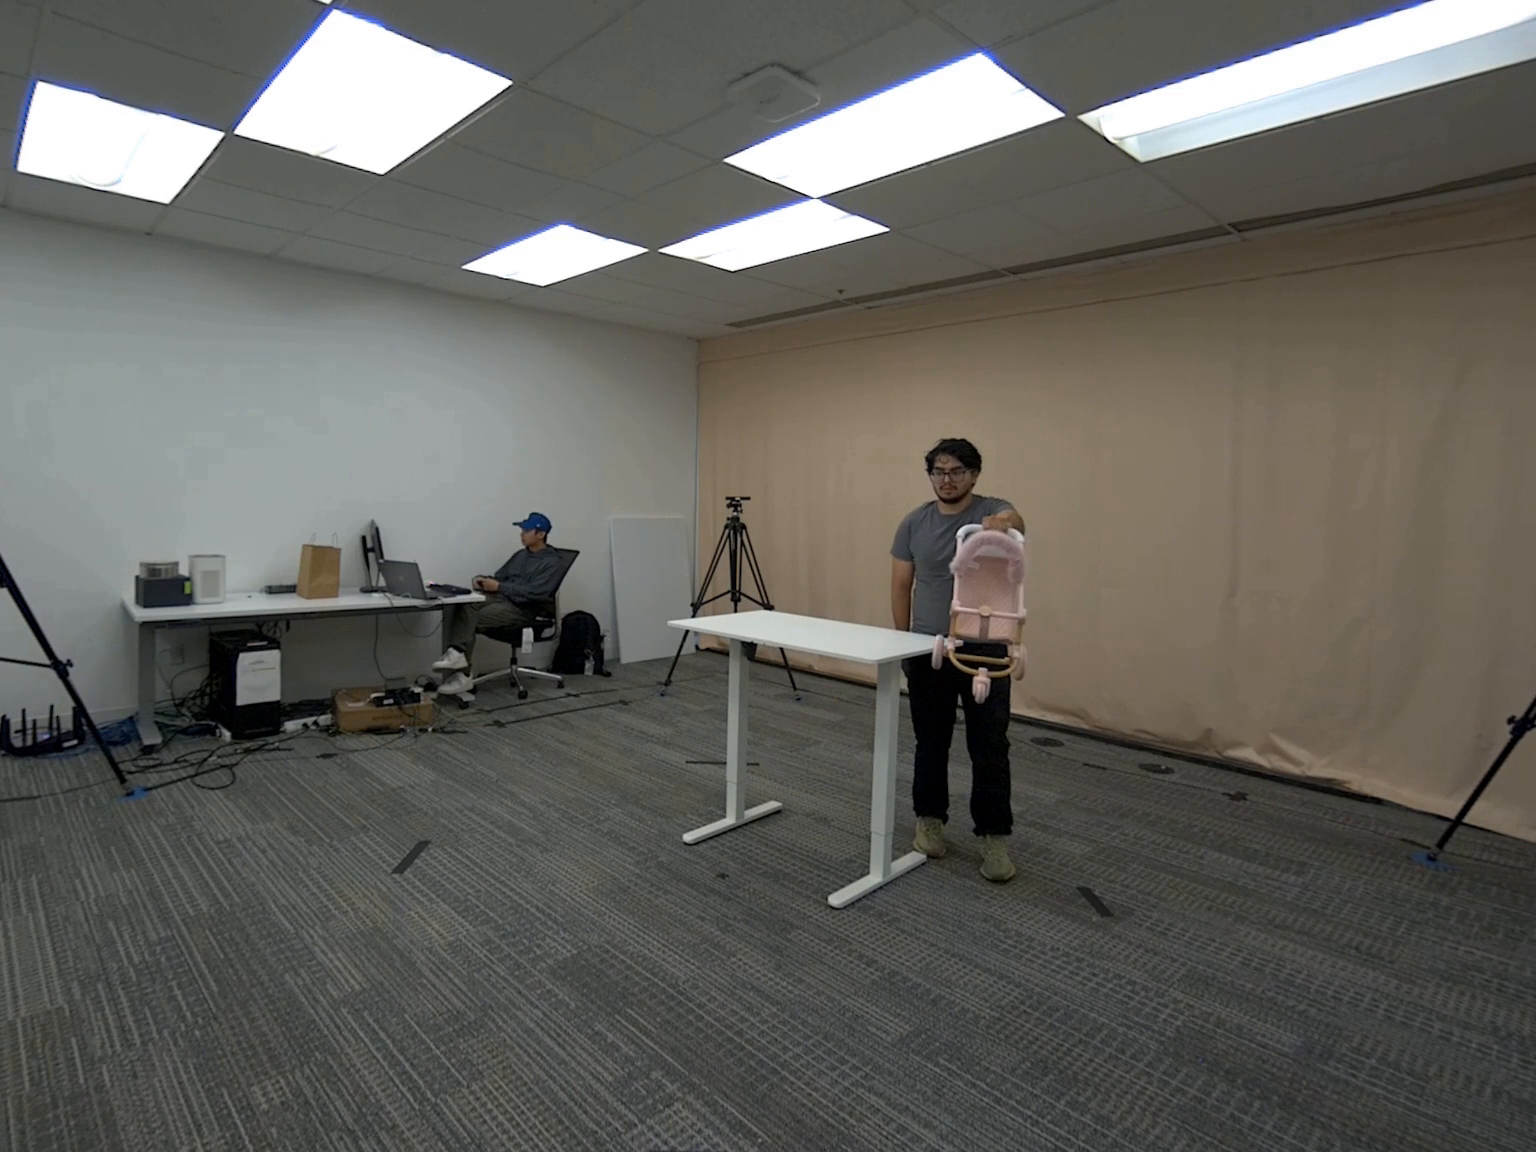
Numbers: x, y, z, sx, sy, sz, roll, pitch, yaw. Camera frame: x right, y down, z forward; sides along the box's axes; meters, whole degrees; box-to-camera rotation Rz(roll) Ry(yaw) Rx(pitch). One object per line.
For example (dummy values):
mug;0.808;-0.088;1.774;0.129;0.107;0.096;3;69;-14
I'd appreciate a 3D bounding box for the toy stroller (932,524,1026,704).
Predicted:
toy stroller;0.654;0.111;2.539;0.285;0.535;0.336;6;-1;15
